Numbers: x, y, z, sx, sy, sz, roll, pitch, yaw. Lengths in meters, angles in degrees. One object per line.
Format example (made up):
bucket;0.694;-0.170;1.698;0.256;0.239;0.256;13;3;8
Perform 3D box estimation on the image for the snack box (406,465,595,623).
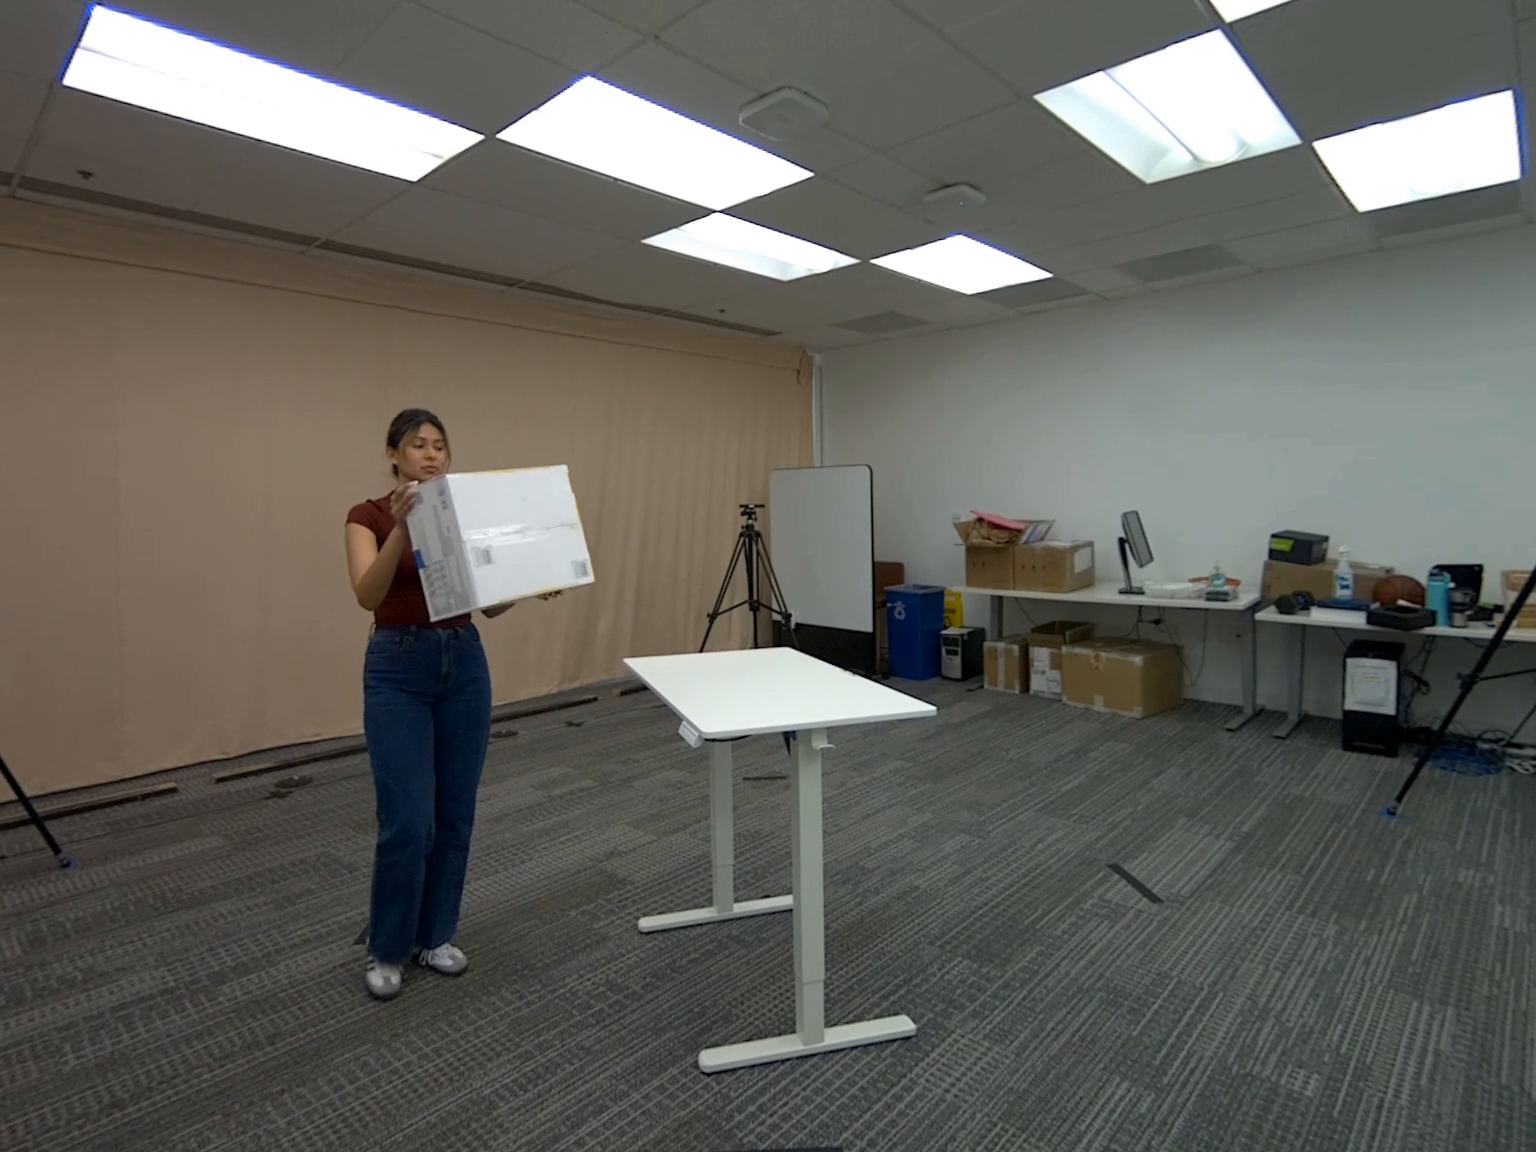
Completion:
snack box;-0.702;-0.091;2.239;0.211;0.340;0.395;-15;1;35
